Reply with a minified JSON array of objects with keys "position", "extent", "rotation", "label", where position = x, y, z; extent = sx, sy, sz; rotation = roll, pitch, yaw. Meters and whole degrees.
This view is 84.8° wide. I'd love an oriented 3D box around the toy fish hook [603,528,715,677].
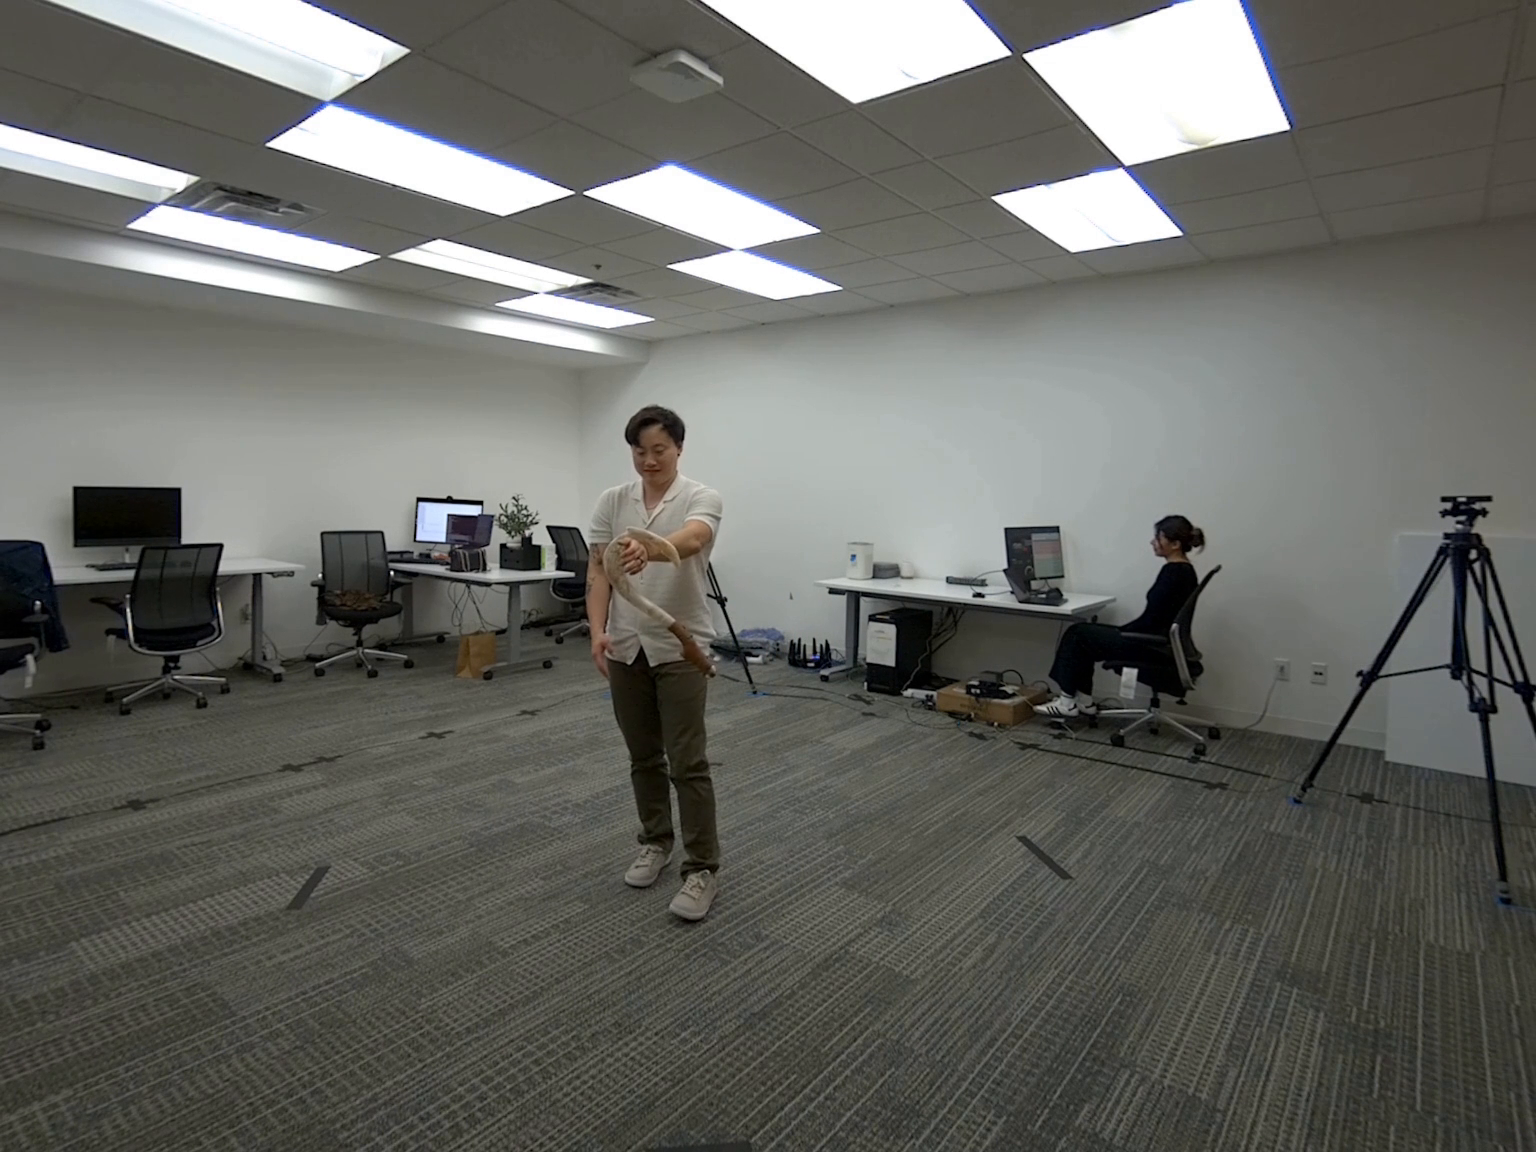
[{"position":[-0.303,0.070,2.531],"extent":[0.225,0.510,0.048],"rotation":[-41,-5,16],"label":"toy fish hook"}]
